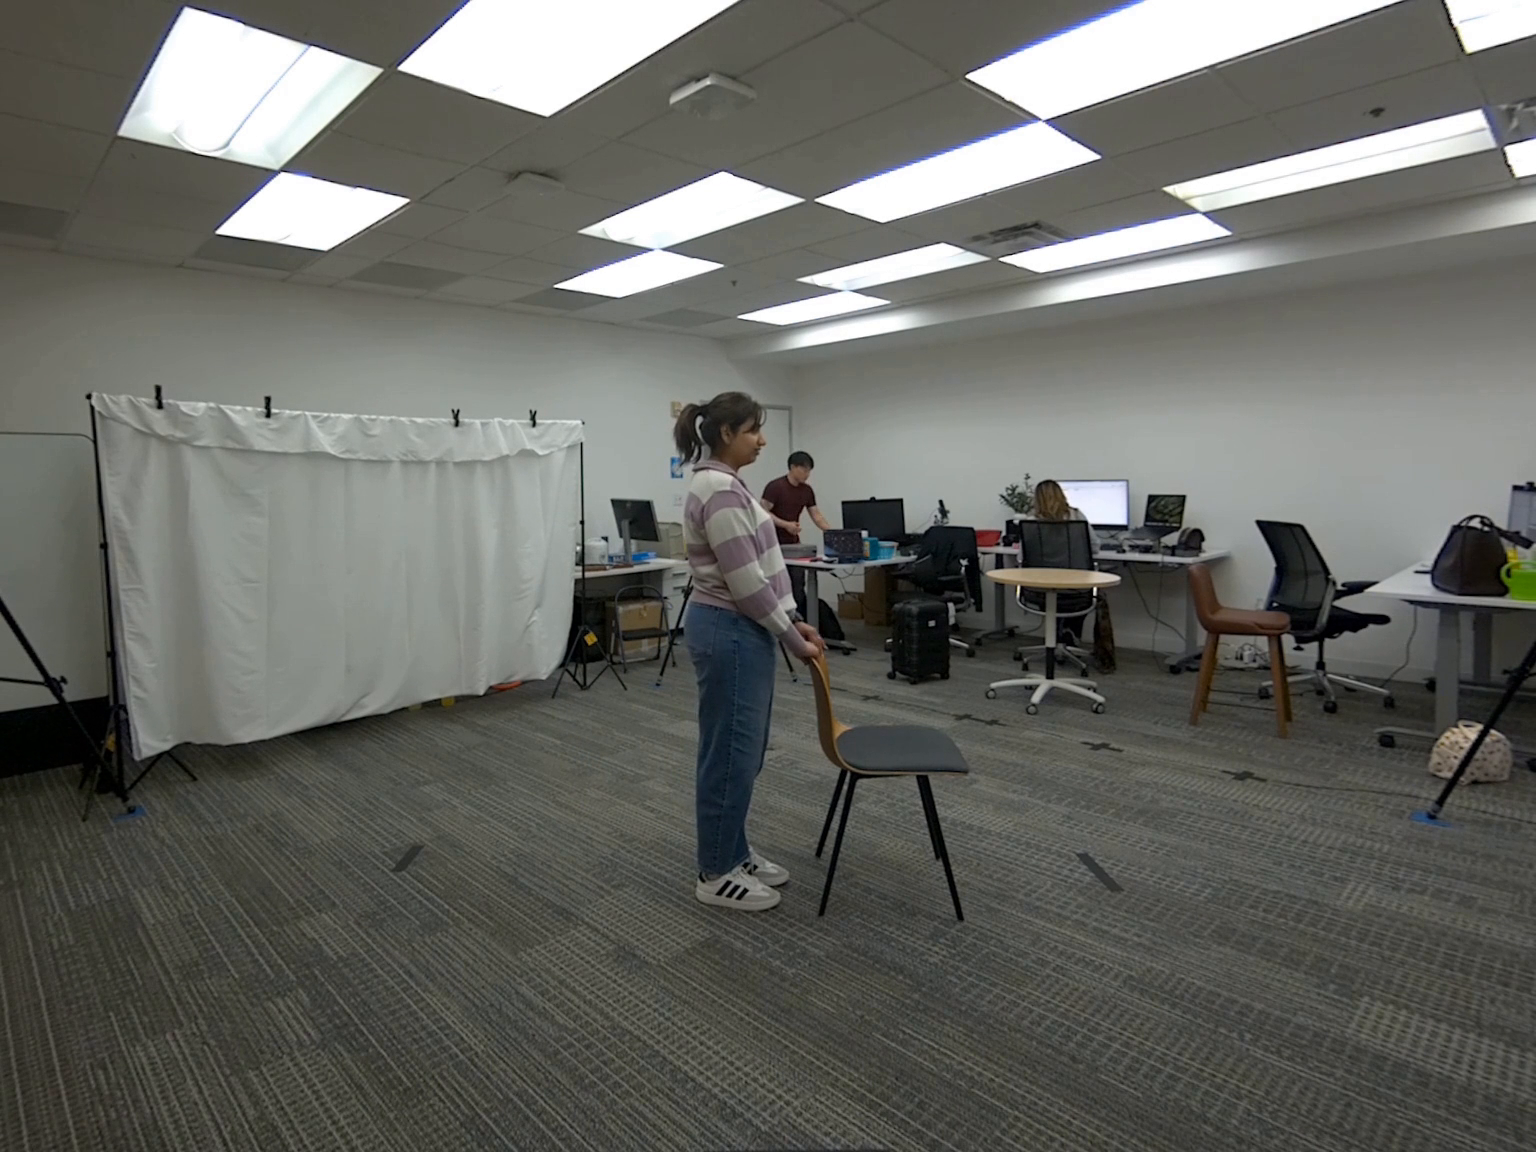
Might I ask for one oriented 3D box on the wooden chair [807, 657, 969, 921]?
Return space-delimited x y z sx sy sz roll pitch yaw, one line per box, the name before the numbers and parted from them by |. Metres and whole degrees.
wooden chair | 0.397 0.627 2.897 0.525 0.875 0.477 -5 3 4
